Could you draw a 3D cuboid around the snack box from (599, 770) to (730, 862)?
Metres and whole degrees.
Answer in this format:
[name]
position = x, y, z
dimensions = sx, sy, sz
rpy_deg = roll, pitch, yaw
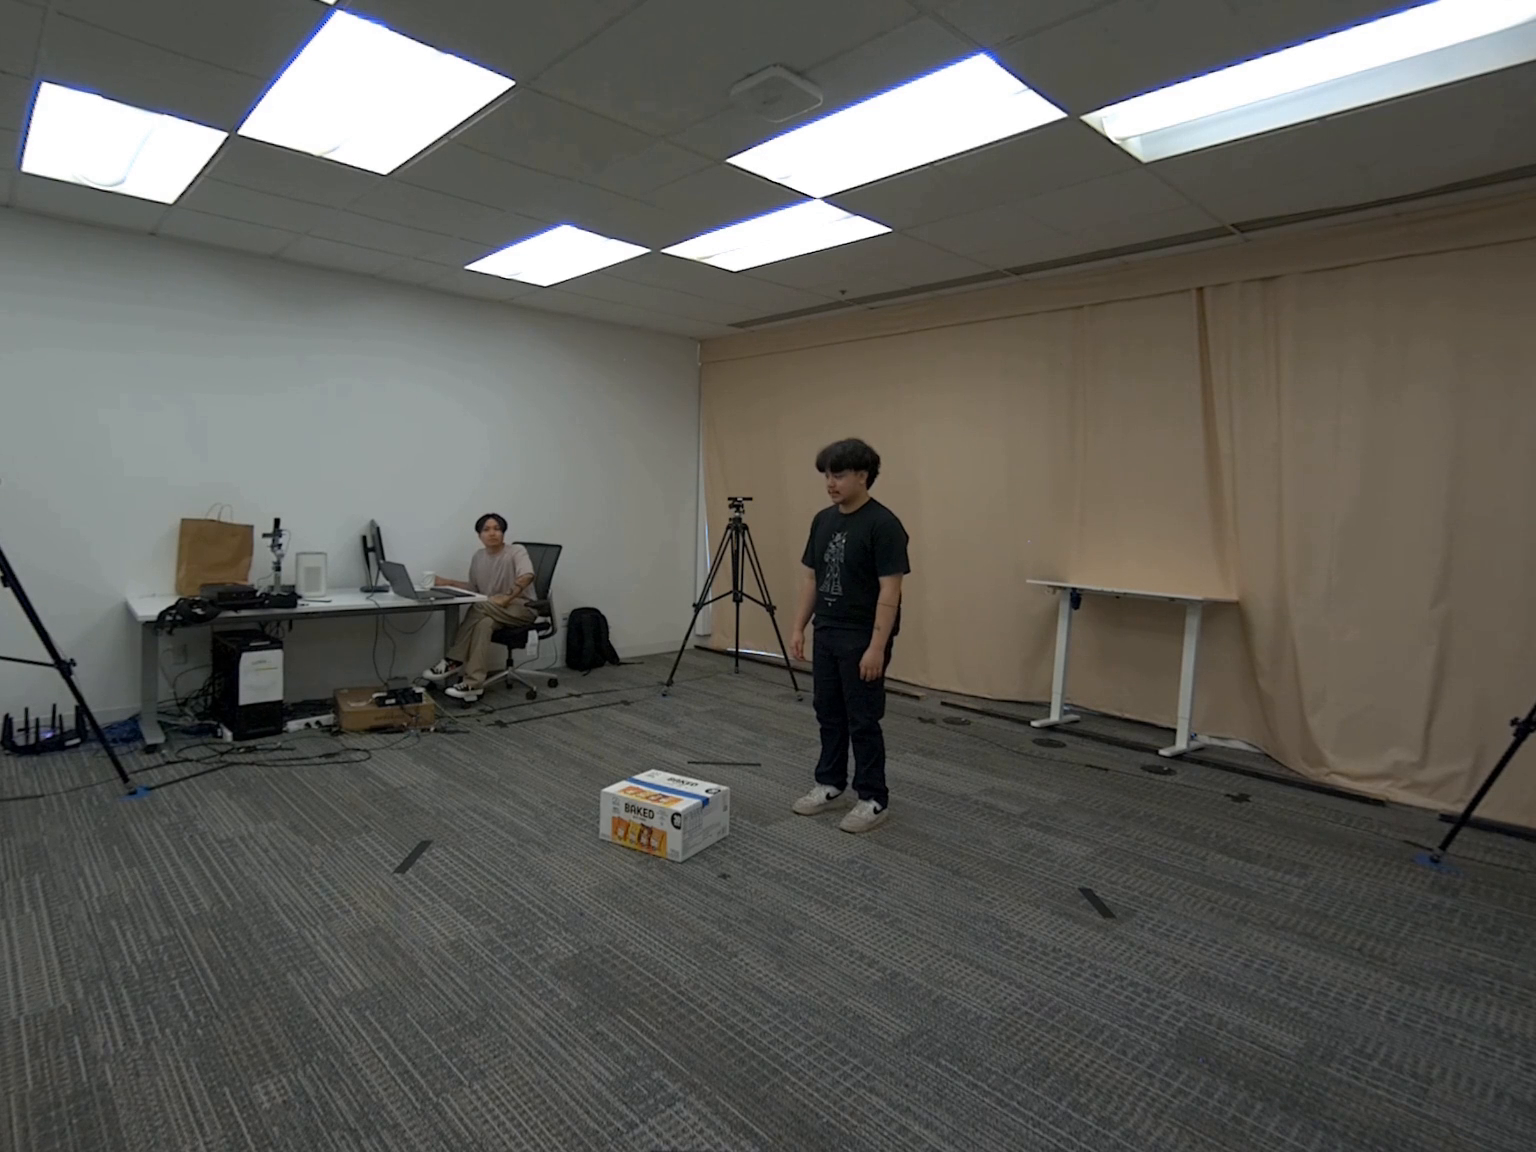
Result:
[snack box]
position = -0.426, 0.968, 3.437
dimensions = 0.414, 0.205, 0.333
rpy_deg = 4, 5, 31
